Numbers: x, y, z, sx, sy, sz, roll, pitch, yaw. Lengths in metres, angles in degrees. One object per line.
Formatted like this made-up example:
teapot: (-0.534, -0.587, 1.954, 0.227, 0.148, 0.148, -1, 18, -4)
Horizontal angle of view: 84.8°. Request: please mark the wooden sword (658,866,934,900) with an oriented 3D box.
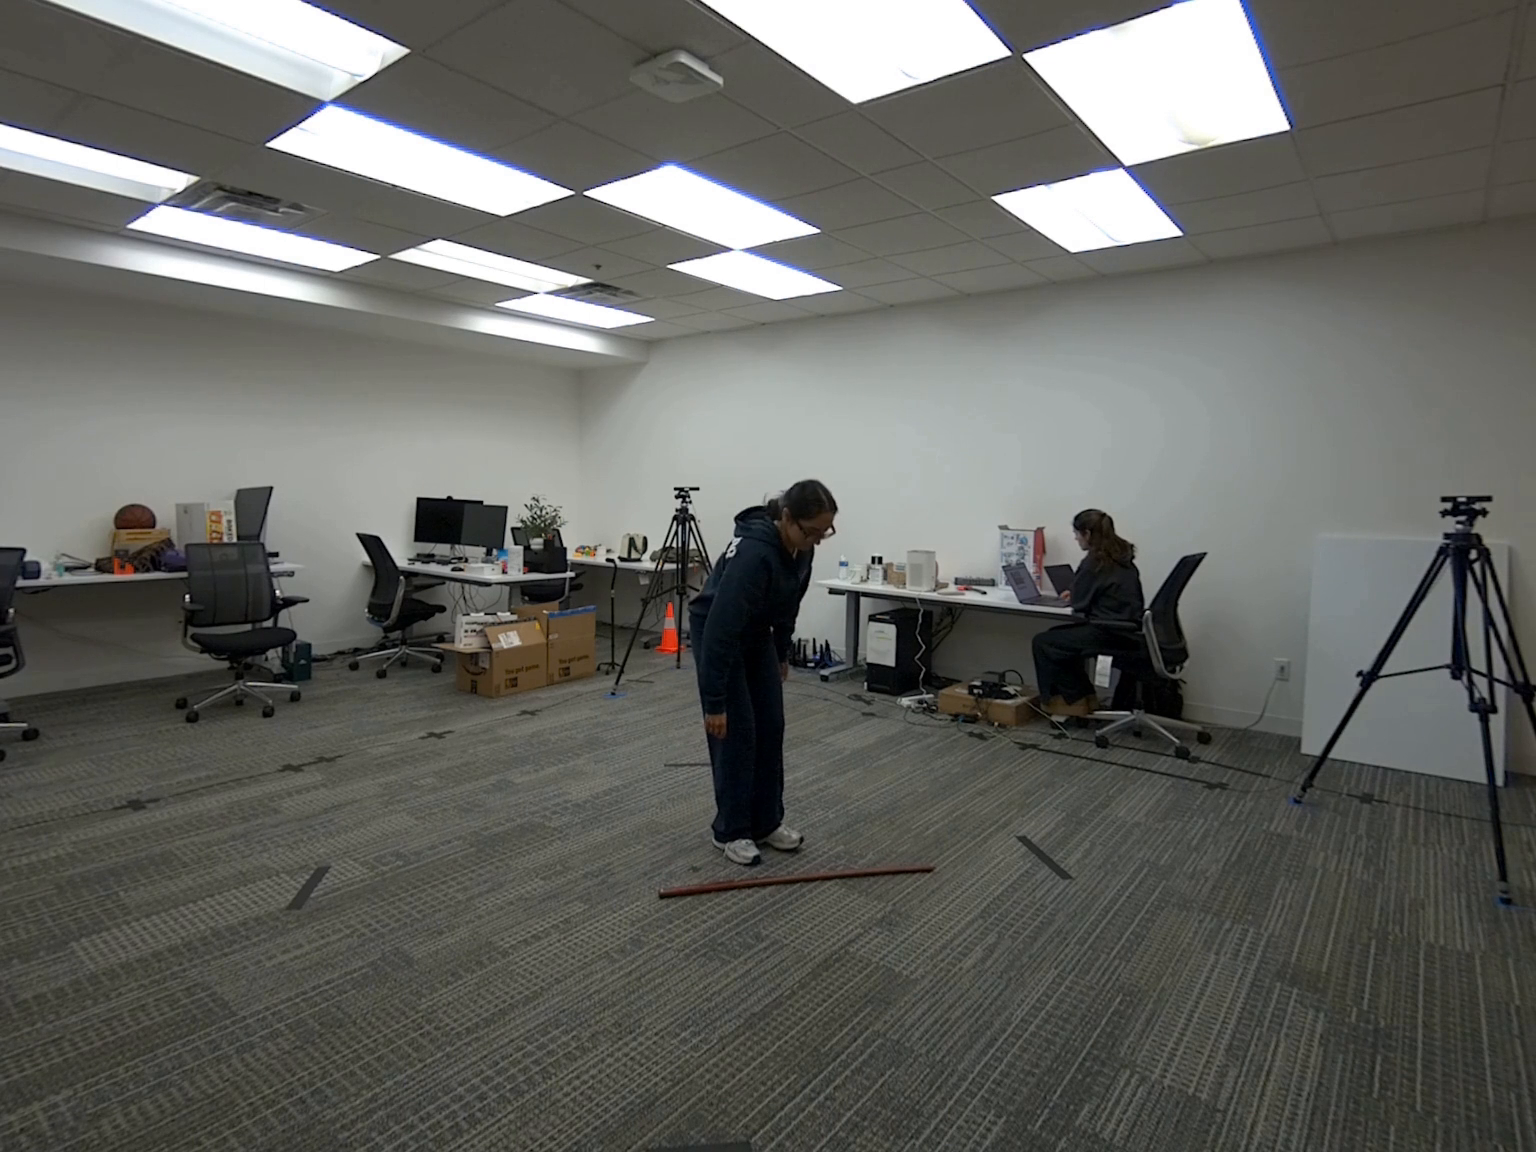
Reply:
wooden sword: (0.111, 1.064, 3.015, 1.009, 0.024, 0.052, -1, 11, -14)
